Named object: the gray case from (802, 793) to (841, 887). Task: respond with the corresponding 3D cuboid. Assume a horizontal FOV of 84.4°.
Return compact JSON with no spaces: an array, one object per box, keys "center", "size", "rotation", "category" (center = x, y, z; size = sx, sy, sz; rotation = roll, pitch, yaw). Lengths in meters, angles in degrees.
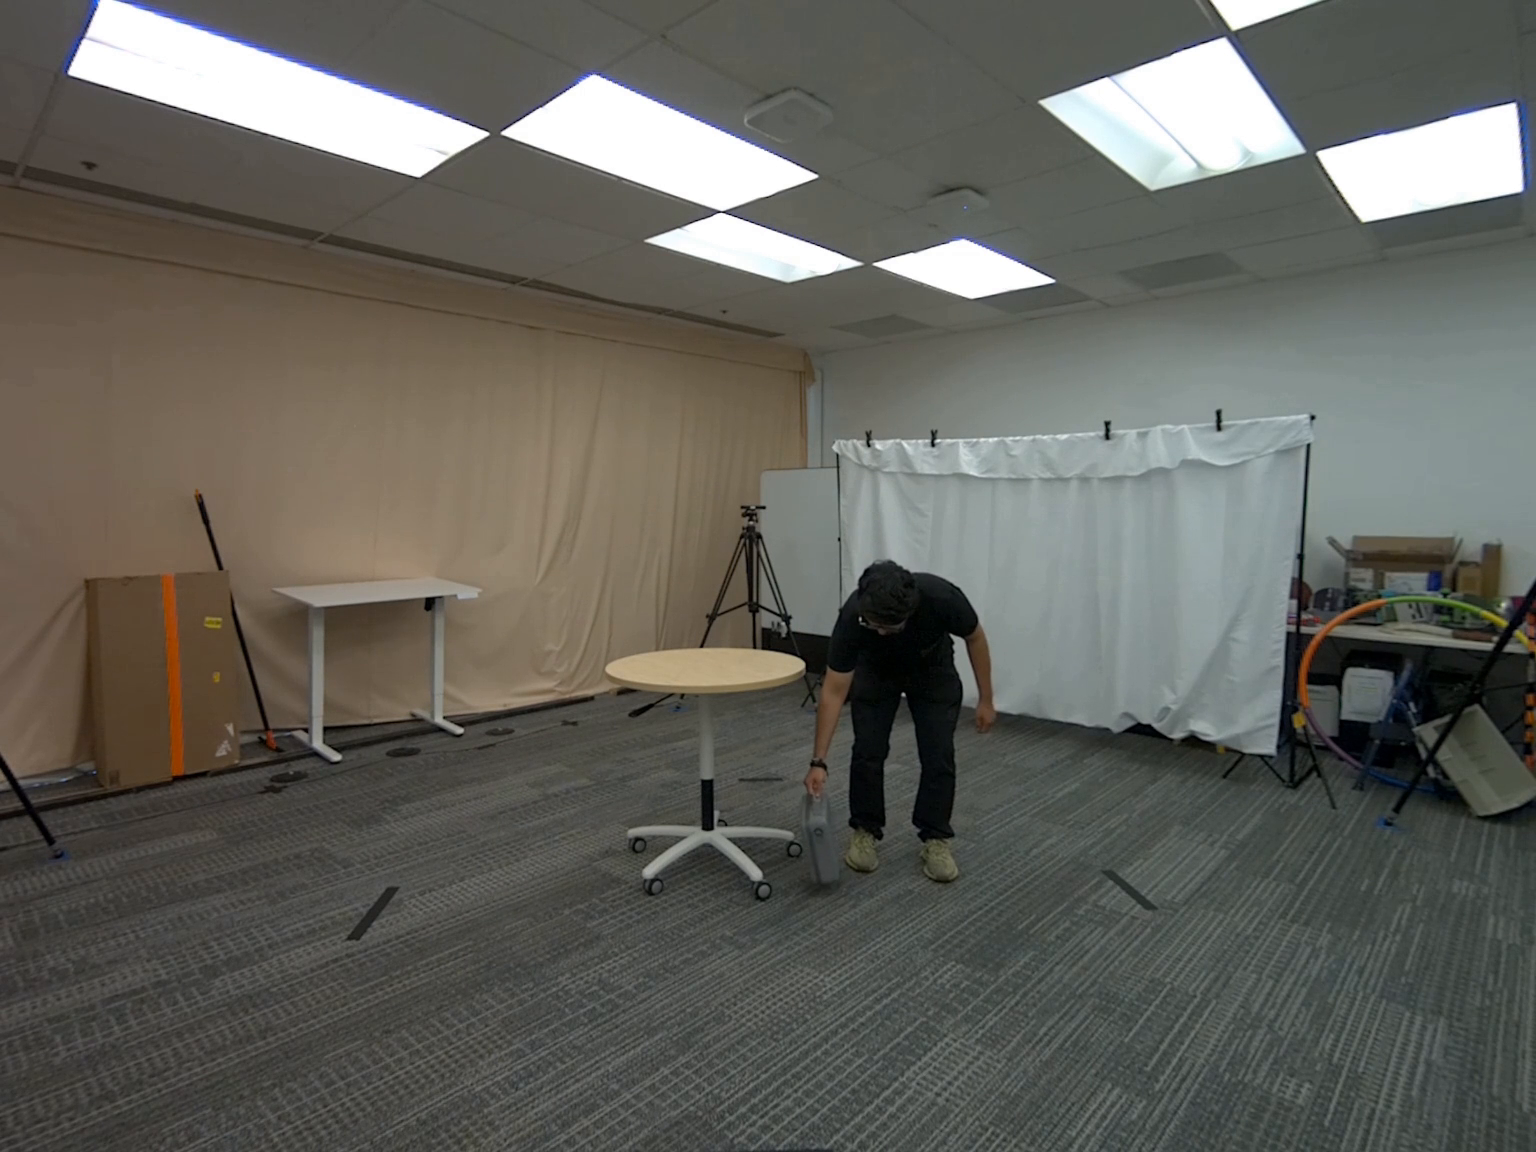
[{"center":[0.190,0.941,3.071],"size":[0.105,0.259,0.257],"rotation":[-7,9,4],"category":"gray case"}]
